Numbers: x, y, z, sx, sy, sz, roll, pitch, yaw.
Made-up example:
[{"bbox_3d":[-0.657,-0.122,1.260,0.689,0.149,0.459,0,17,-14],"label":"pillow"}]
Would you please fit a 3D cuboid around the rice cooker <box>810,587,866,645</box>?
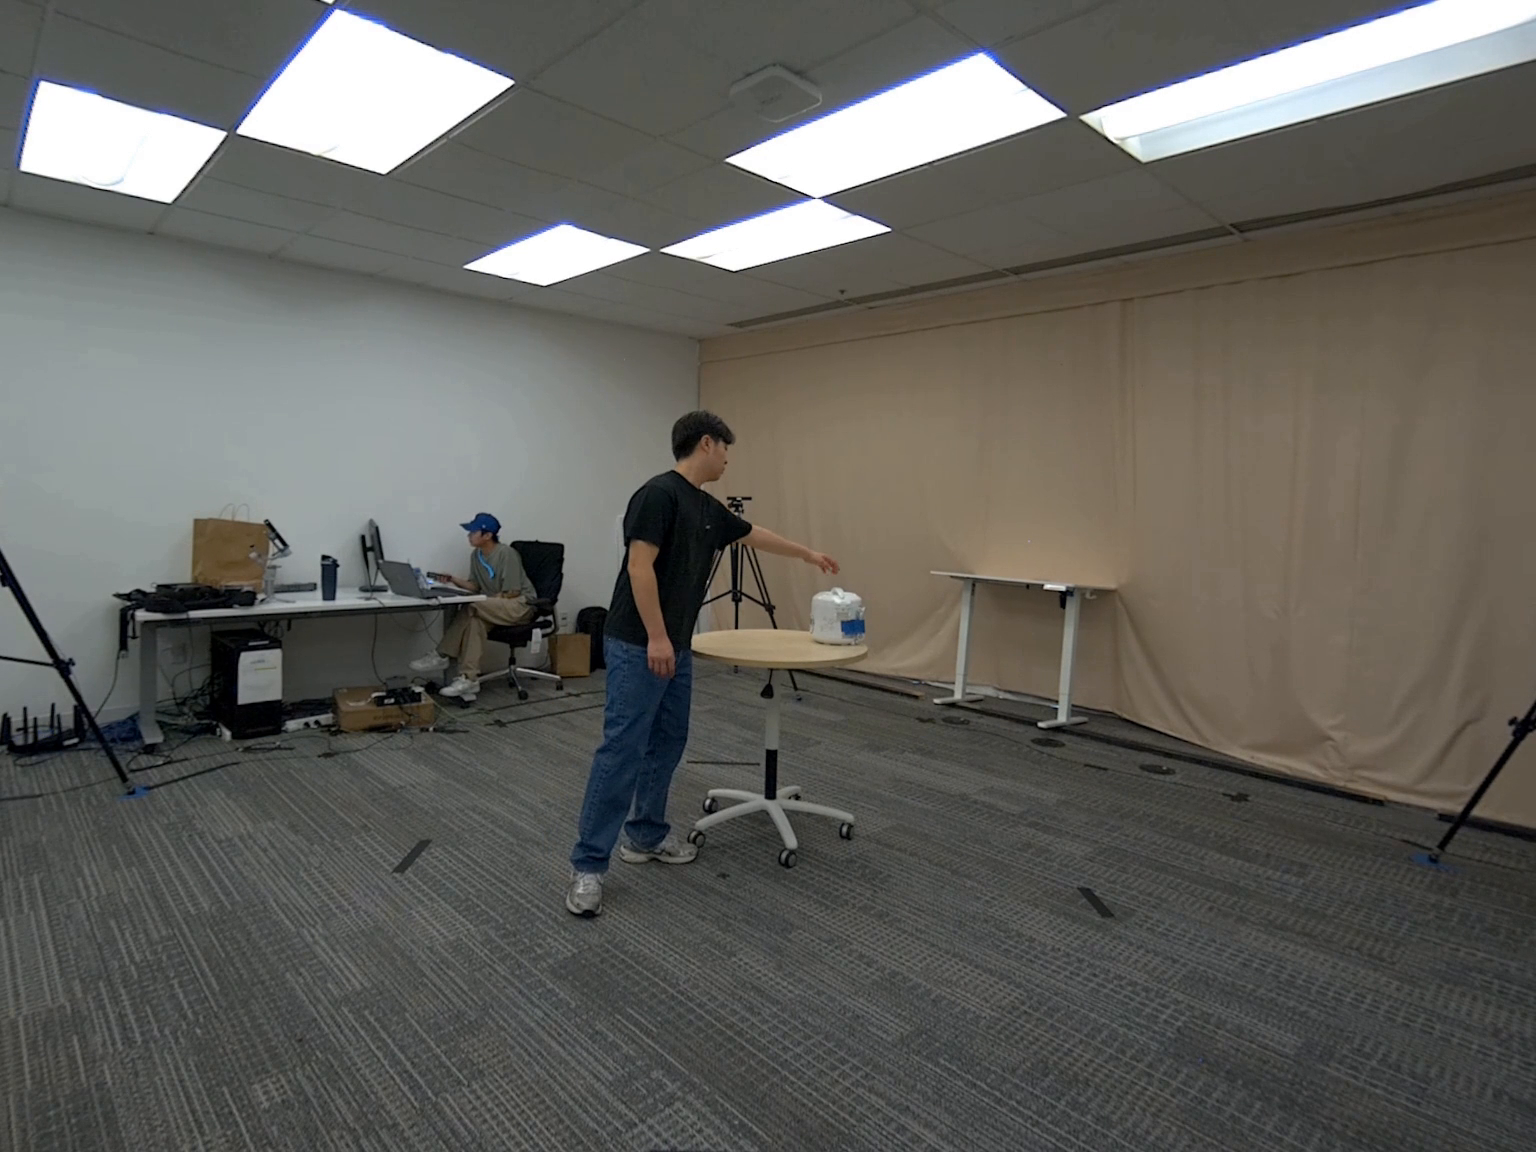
[{"bbox_3d":[0.290,0.167,3.574,0.216,0.232,0.222,3,3,-8],"label":"rice cooker"}]
